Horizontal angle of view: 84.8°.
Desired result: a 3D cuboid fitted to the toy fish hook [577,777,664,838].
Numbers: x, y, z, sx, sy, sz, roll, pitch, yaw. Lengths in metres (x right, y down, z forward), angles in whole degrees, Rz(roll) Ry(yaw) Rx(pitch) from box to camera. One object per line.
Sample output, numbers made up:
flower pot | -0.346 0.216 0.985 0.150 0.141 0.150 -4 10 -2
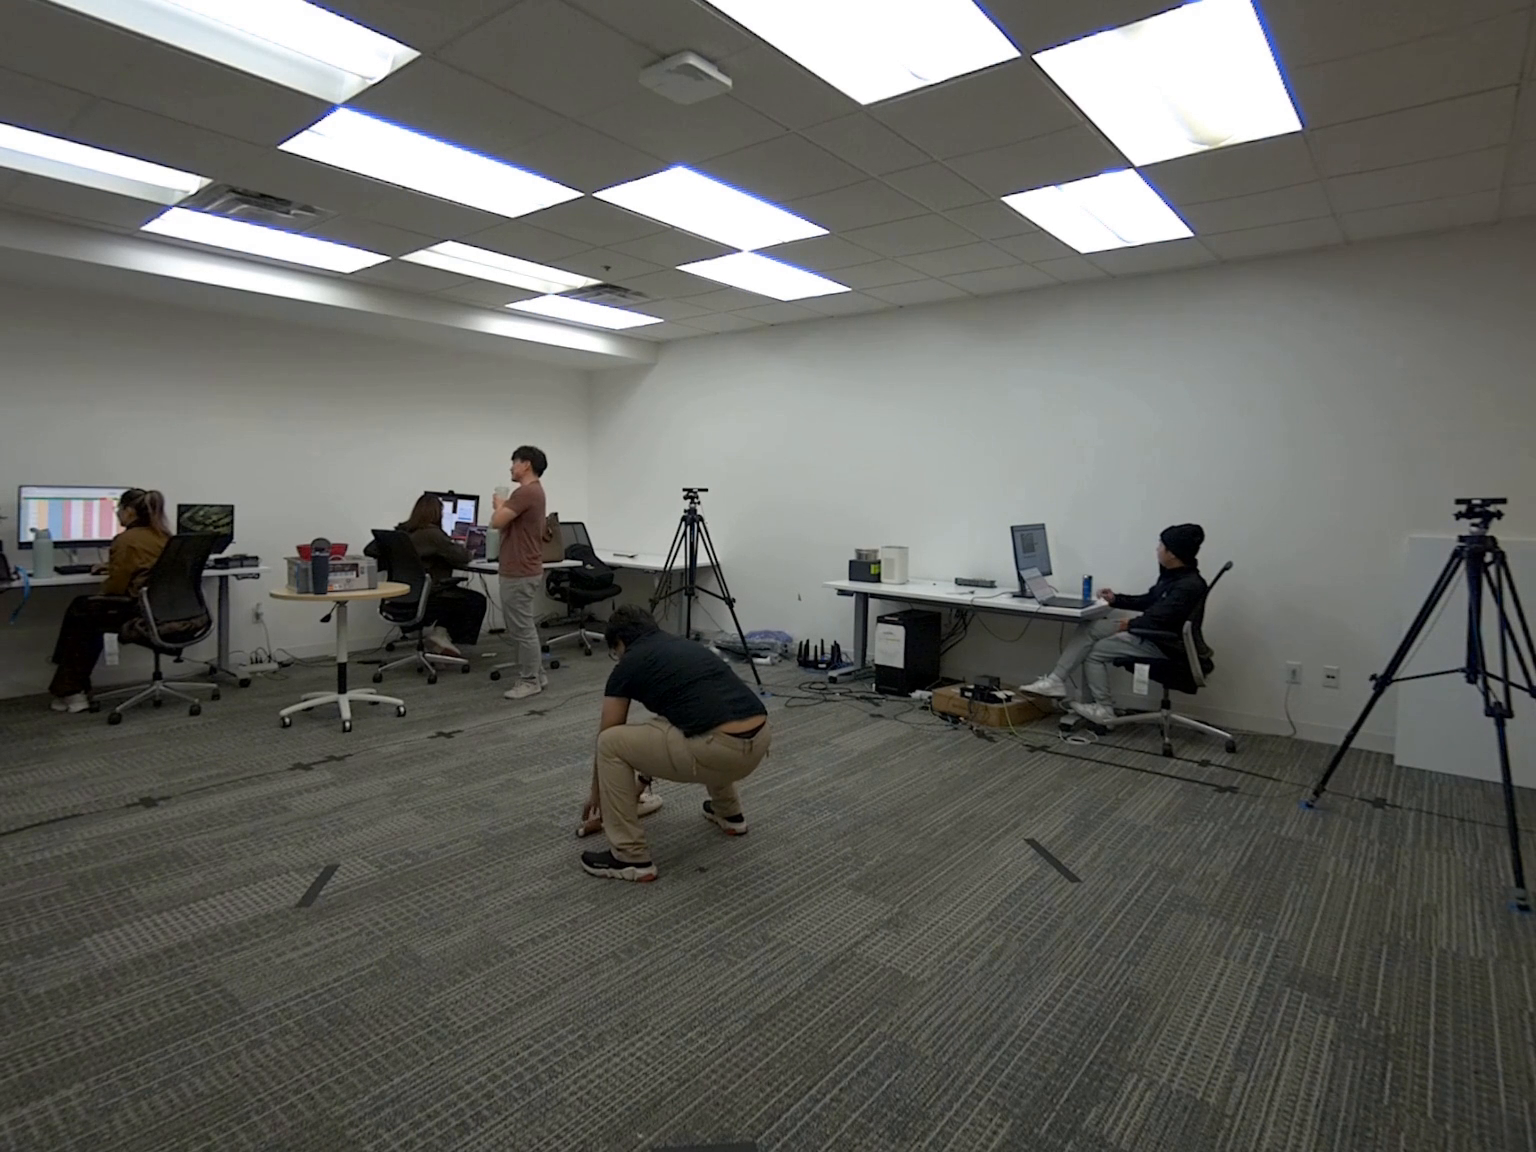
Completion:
toy fish hook | -0.667 0.999 3.596 0.231 0.048 0.492 -2 2 35
